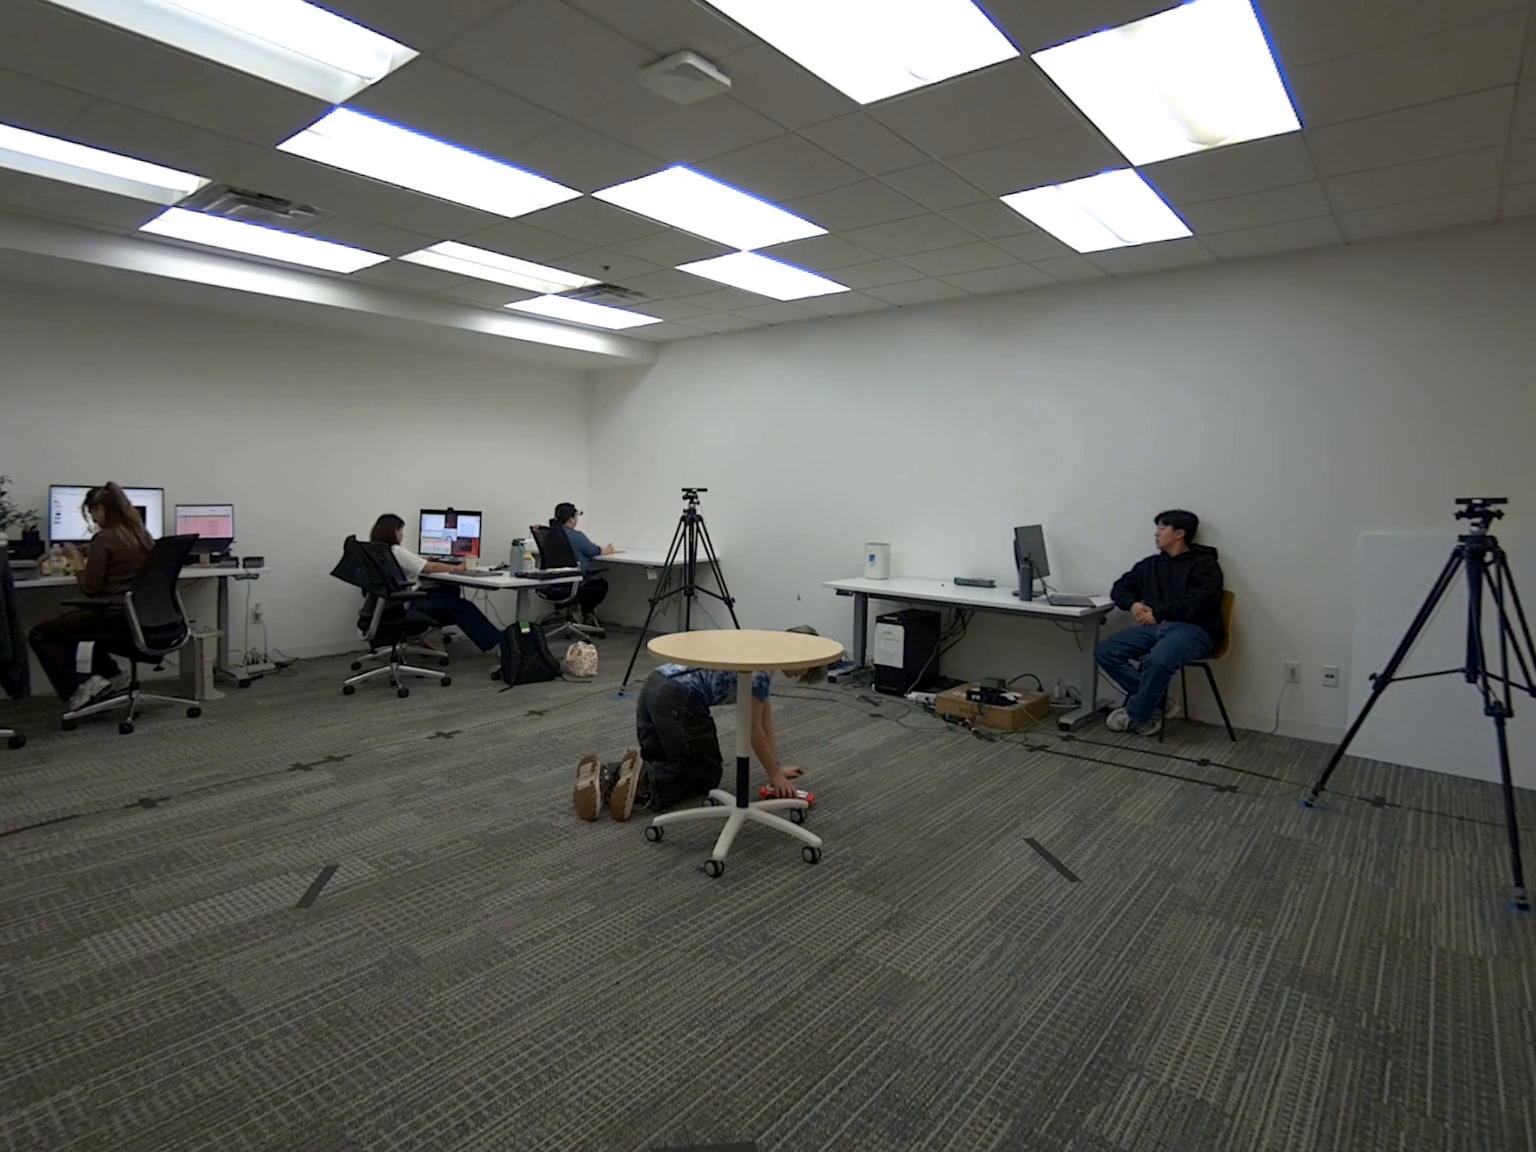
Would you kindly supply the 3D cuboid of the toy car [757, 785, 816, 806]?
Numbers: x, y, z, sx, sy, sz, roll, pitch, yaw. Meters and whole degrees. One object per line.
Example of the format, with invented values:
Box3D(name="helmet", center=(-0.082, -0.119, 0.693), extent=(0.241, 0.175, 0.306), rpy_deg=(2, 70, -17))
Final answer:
Box3D(name="toy car", center=(0.073, 0.981, 3.802), extent=(0.260, 0.083, 0.128), rpy_deg=(13, 7, 18))
